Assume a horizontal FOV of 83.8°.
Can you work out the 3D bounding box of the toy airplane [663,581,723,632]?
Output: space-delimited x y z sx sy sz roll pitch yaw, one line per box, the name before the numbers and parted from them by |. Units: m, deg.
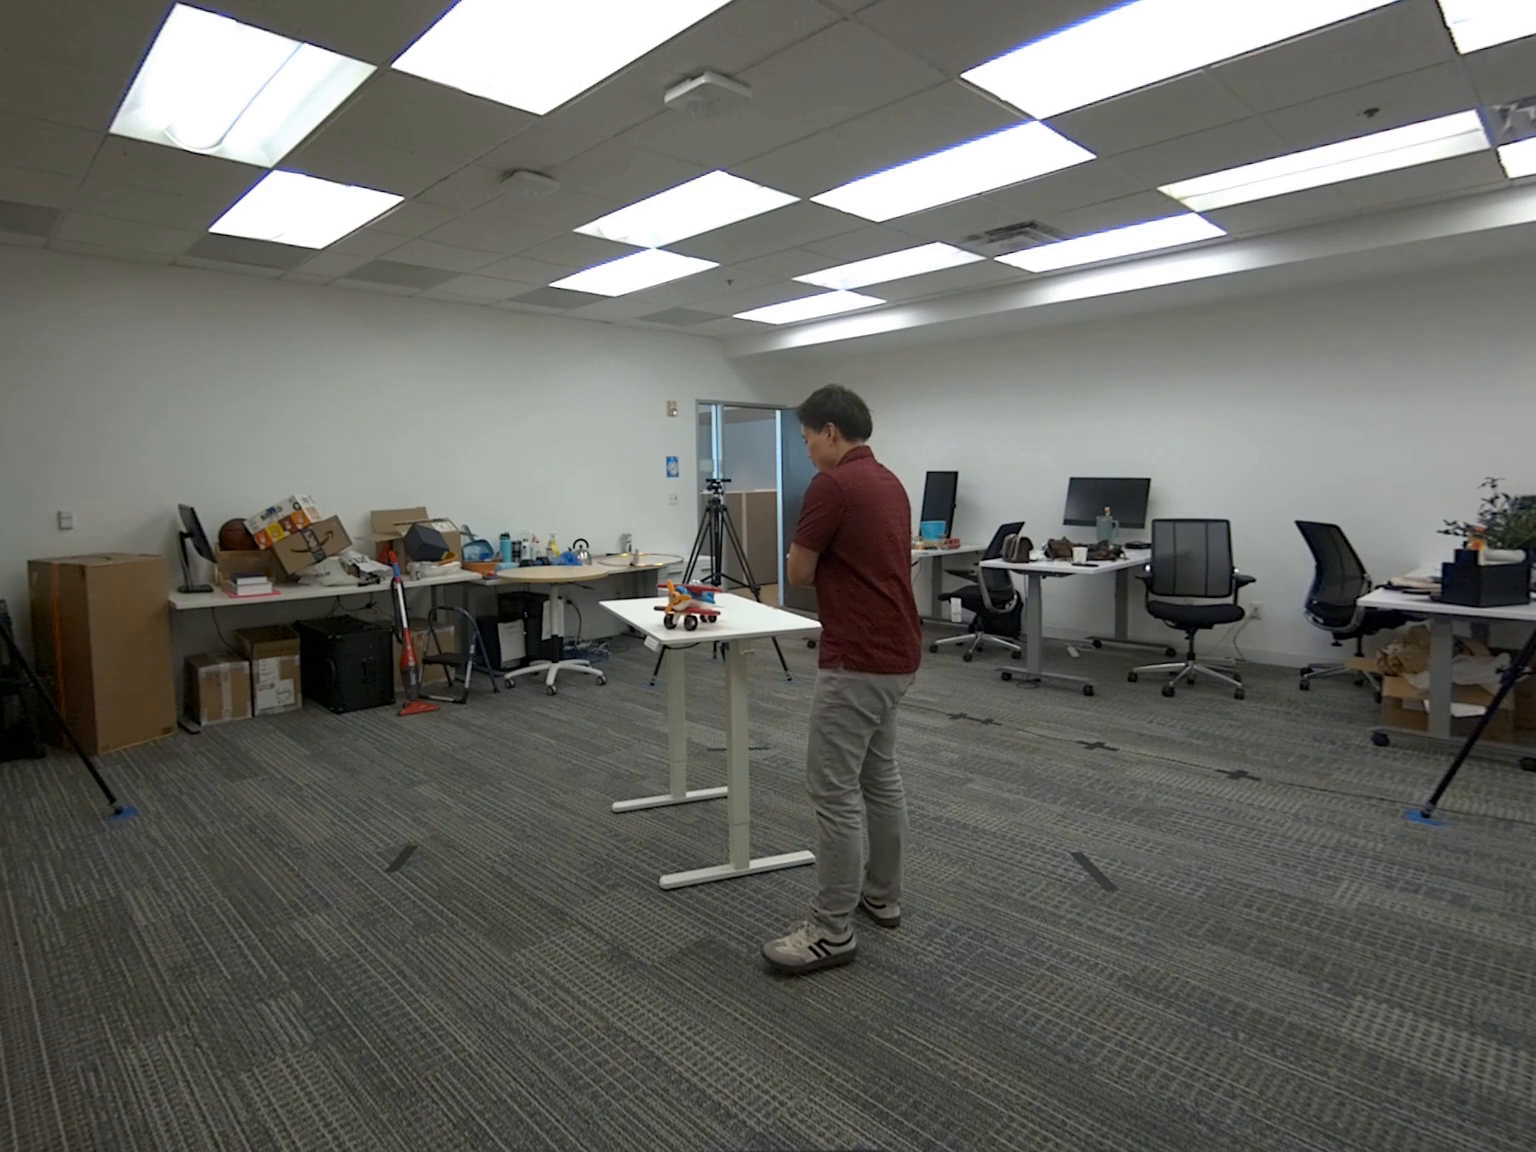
toy airplane | -0.277 0.100 3.011 0.252 0.156 0.259 -1 6 3
